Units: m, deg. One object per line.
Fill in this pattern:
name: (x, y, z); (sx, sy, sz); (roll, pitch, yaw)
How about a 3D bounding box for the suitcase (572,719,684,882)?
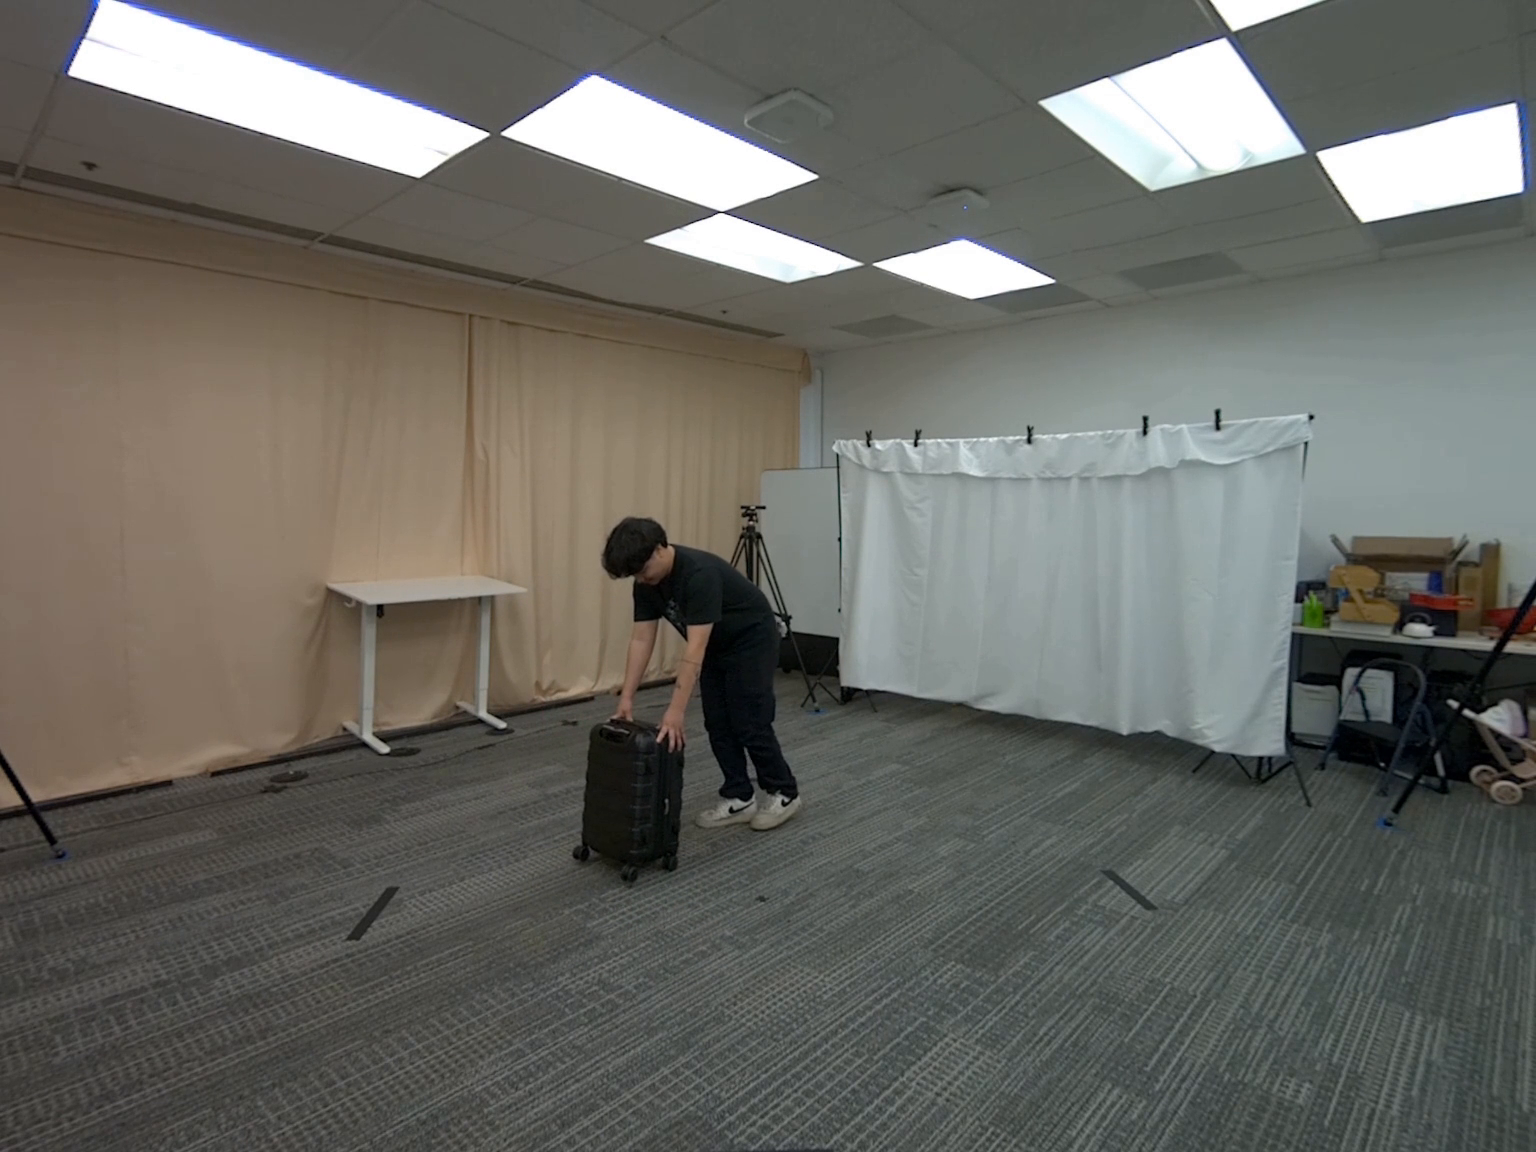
suitcase: (-0.531, 0.845, 3.288); (0.388, 0.550, 0.240); (1, -5, 43)
